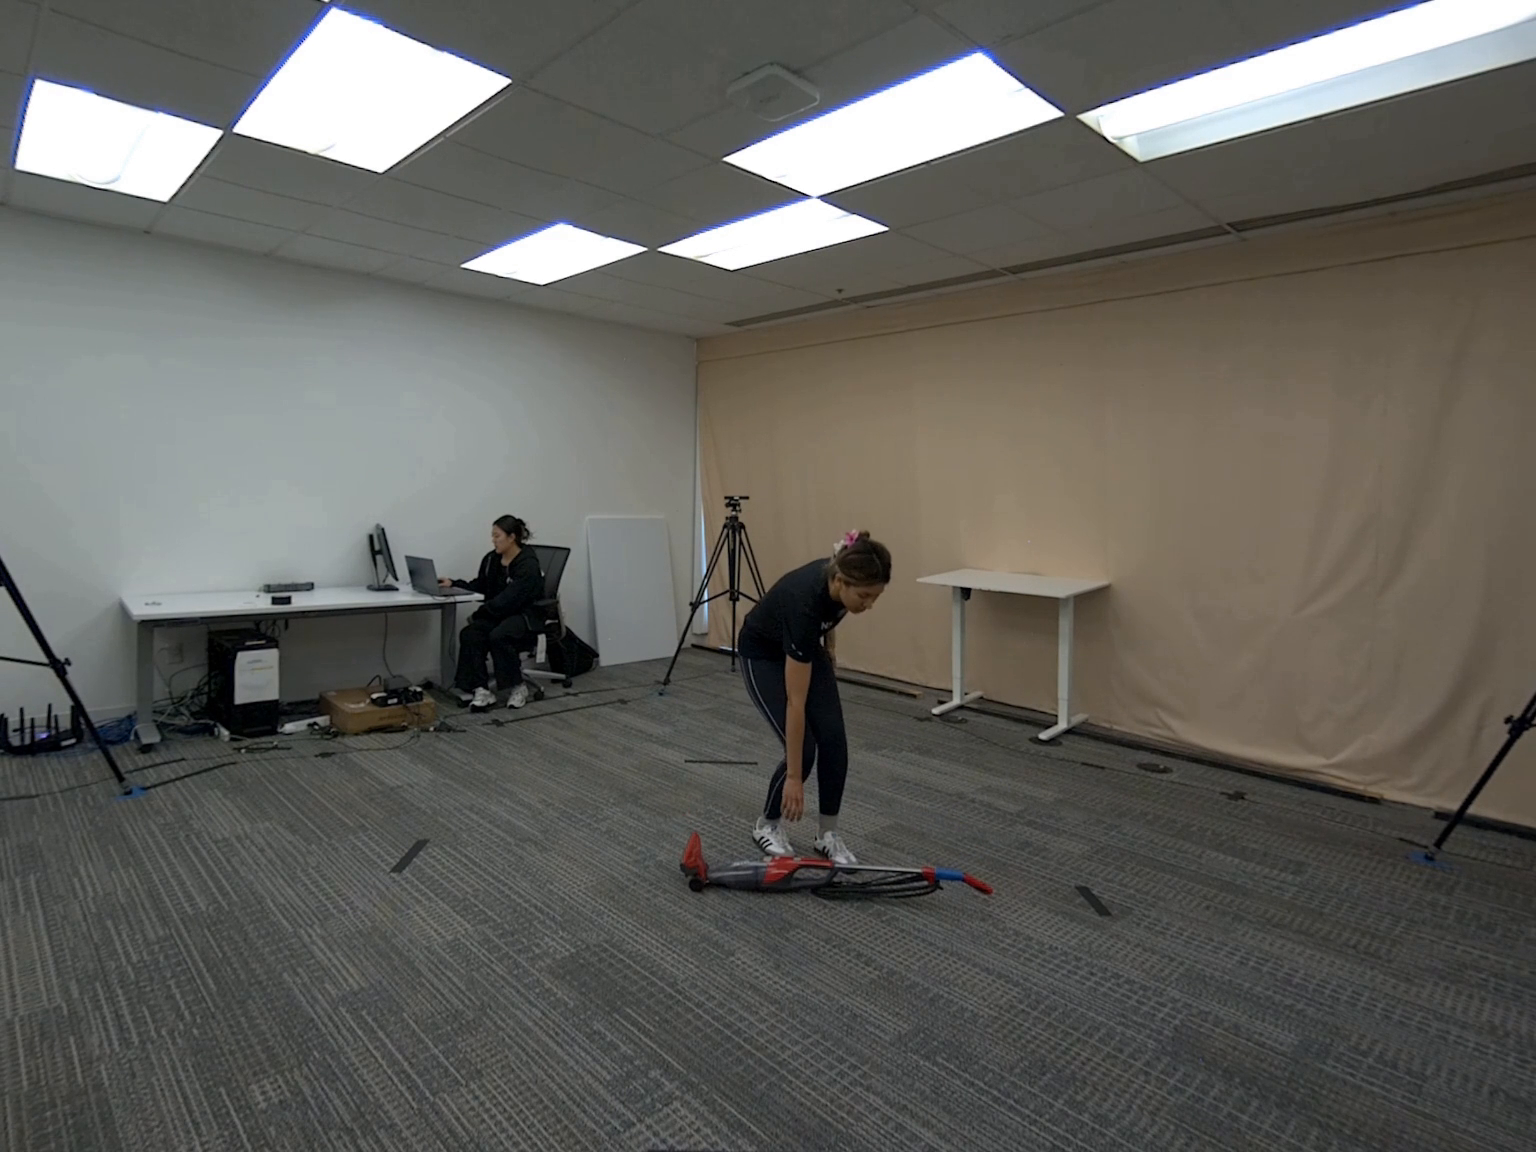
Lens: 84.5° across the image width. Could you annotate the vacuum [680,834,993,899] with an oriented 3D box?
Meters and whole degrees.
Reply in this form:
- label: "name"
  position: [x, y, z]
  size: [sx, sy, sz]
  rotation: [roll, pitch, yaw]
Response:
- label: "vacuum"
  position: [0.238, 1.063, 2.959]
  size: [1.055, 0.143, 0.252]
  rotation: [3, 7, 6]
